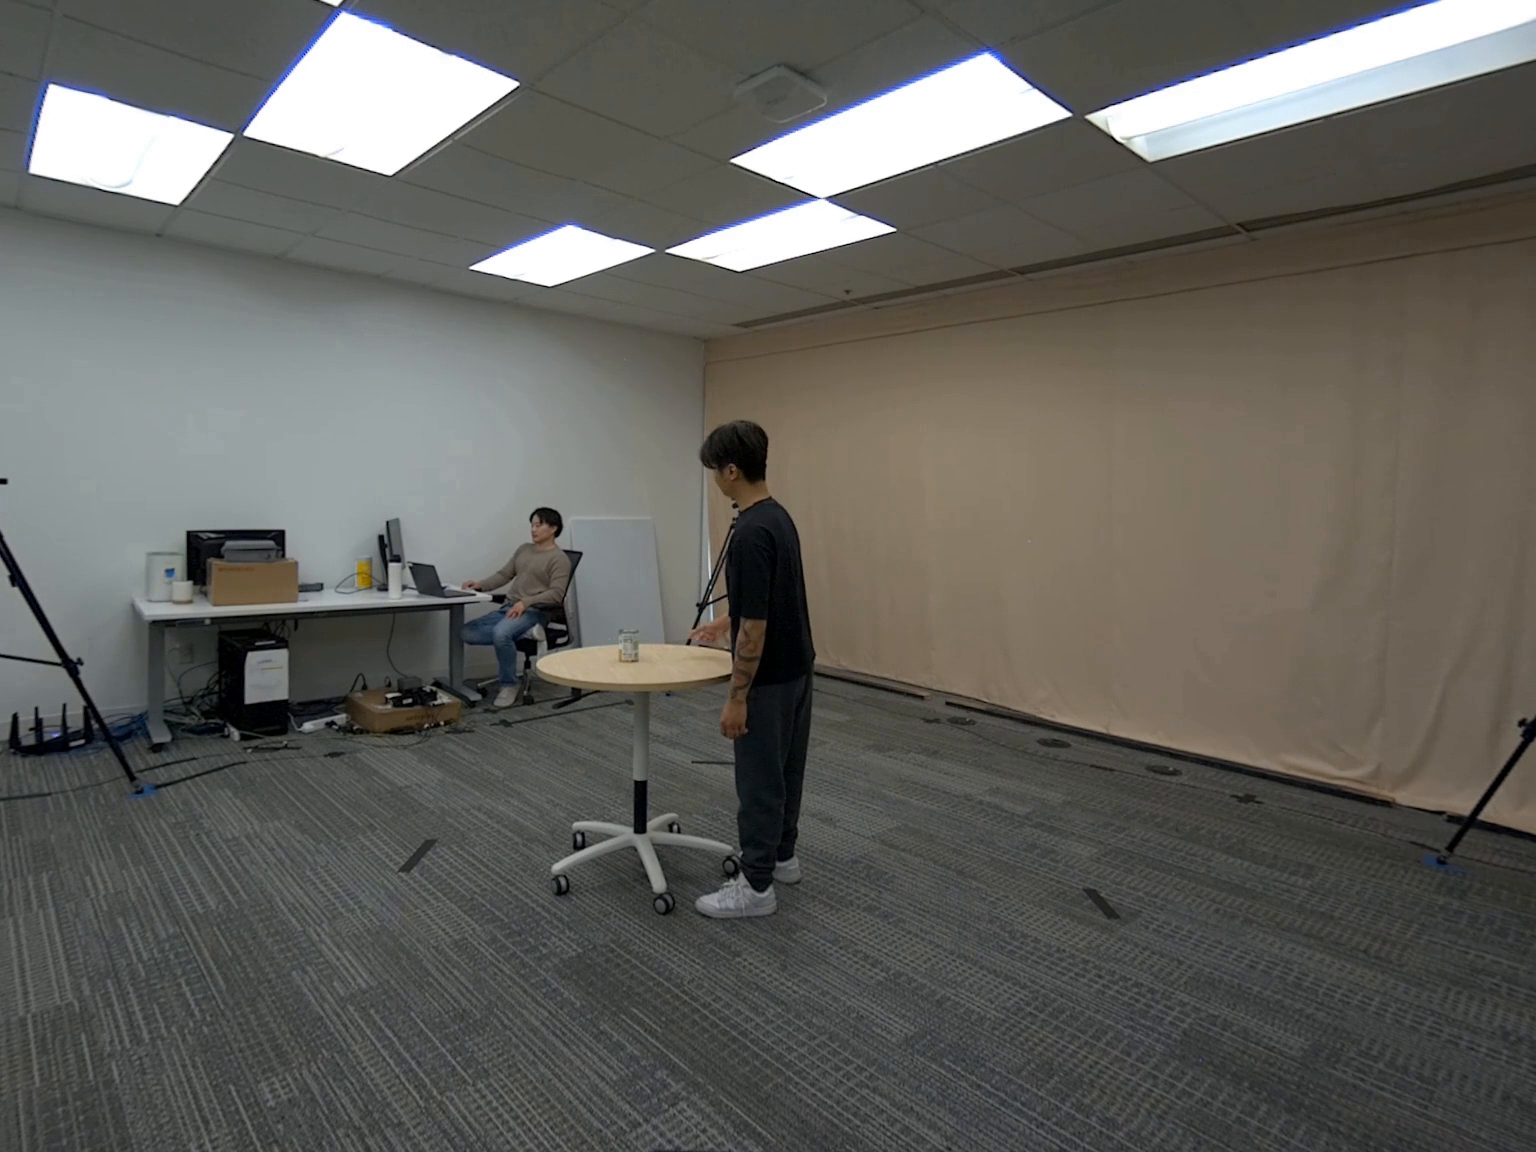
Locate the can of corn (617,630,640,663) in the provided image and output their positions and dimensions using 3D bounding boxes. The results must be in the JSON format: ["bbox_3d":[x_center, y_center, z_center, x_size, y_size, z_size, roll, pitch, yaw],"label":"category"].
[{"bbox_3d":[-0.528,0.261,3.116,0.074,0.111,0.074,0,1,-1],"label":"can of corn"}]
